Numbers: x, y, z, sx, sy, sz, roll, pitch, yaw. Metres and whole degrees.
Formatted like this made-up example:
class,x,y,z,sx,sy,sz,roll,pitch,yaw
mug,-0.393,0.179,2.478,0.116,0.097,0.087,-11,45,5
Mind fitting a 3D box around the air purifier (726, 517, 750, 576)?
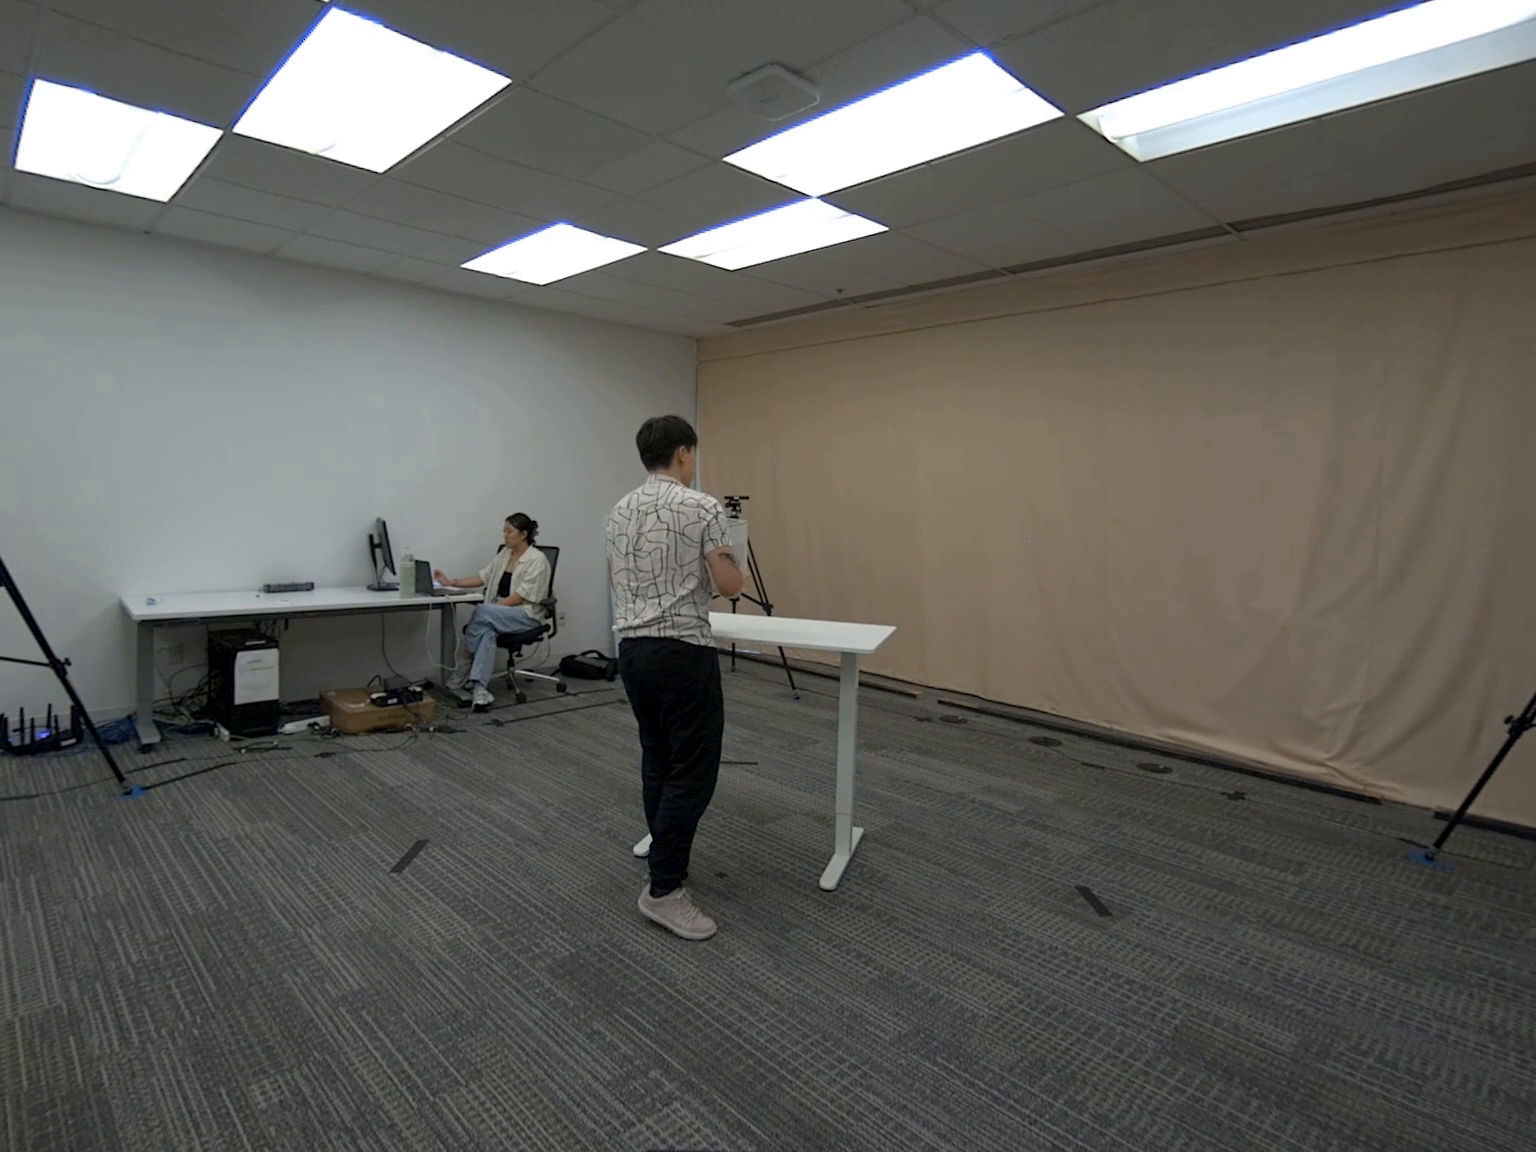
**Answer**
class,x,y,z,sx,sy,sz,roll,pitch,yaw
air purifier,-0.166,-0.068,3.151,0.175,0.263,0.168,8,11,35
